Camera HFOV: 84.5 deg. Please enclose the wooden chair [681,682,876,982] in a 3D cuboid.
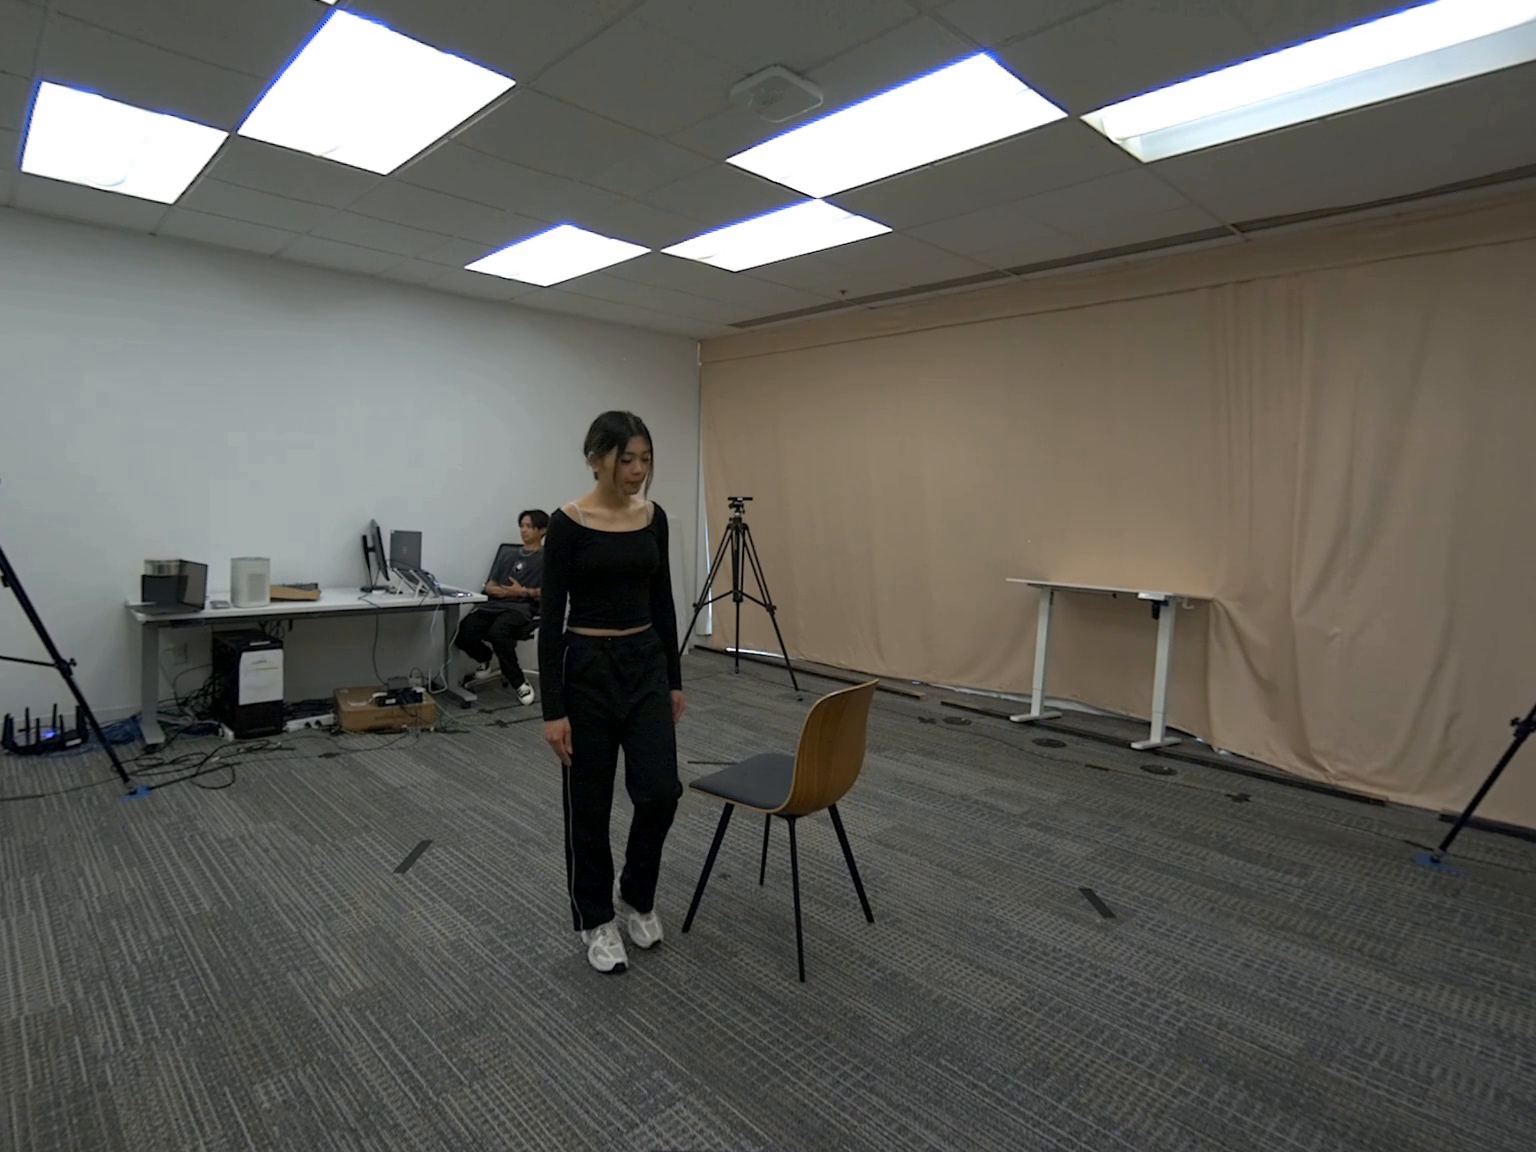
[{"bbox_3d":[0.039,0.720,2.717,0.536,0.873,0.468,9,8,35],"label":"wooden chair"}]
